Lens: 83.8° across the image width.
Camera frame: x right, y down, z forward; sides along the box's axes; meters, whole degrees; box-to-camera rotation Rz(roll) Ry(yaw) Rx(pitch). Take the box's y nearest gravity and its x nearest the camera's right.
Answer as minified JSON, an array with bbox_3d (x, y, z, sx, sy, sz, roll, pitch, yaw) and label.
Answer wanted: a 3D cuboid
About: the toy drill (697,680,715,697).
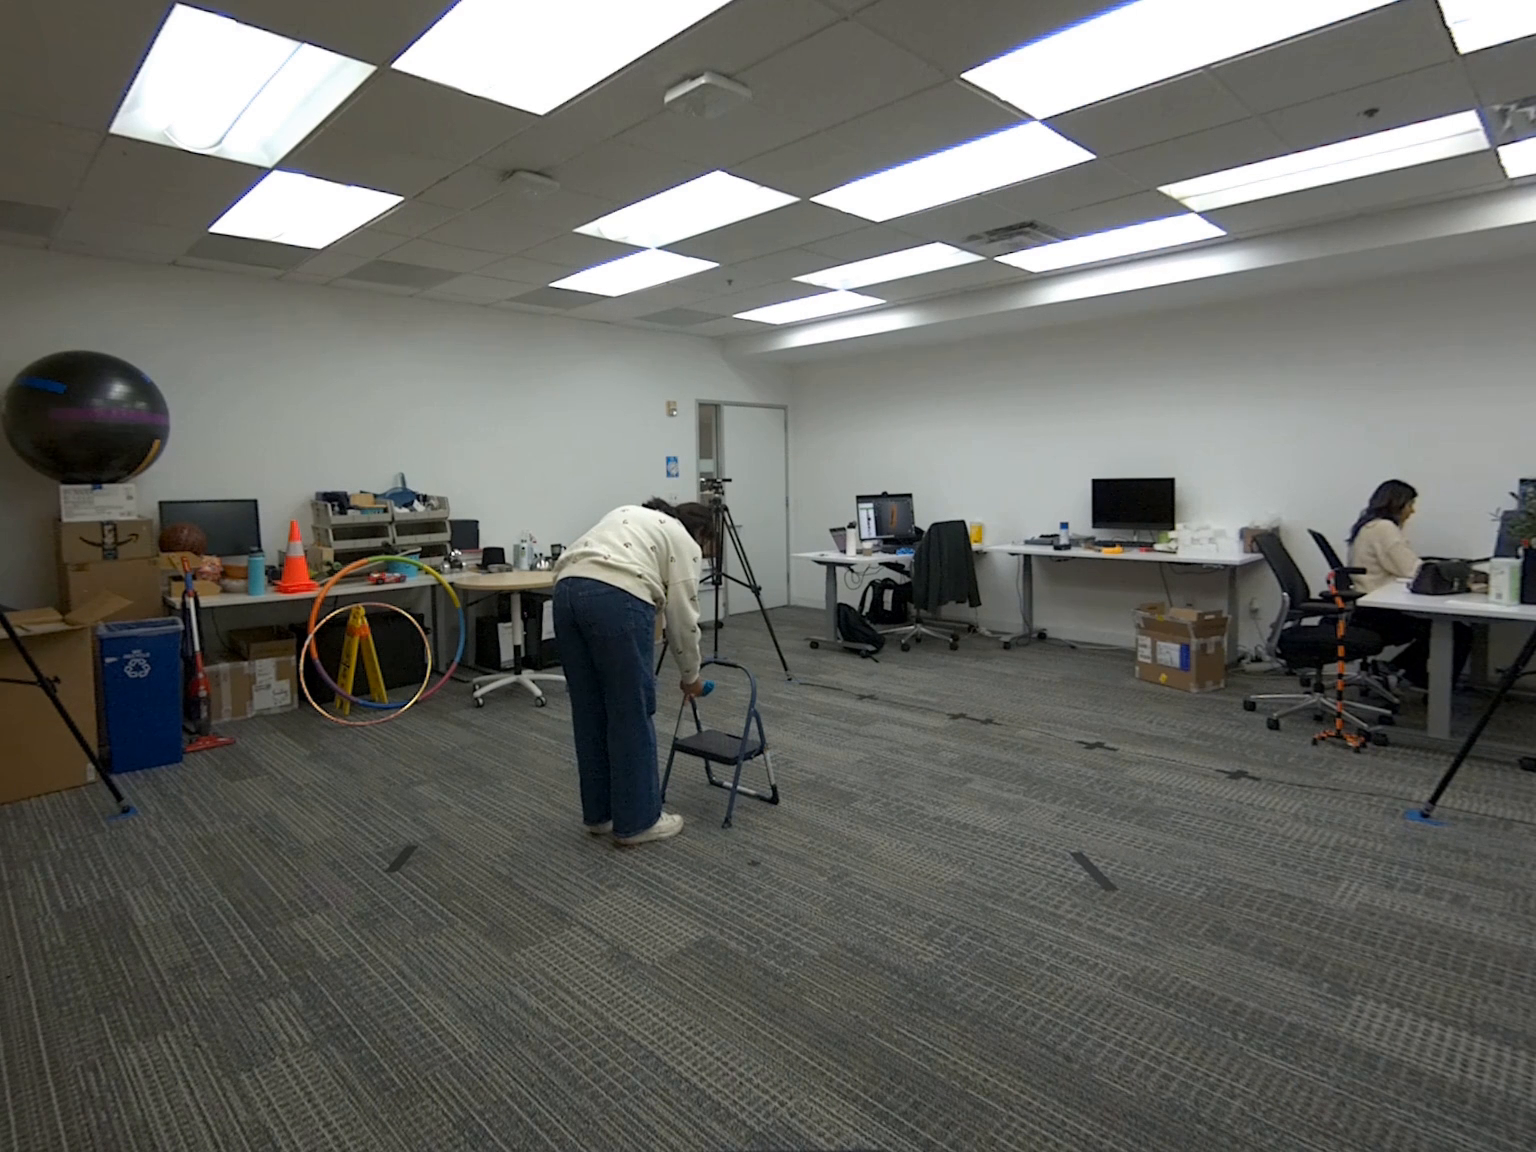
[{"bbox_3d":[-0.309,0.486,3.667,0.142,0.062,0.171,14,-30,-28],"label":"toy drill"}]
